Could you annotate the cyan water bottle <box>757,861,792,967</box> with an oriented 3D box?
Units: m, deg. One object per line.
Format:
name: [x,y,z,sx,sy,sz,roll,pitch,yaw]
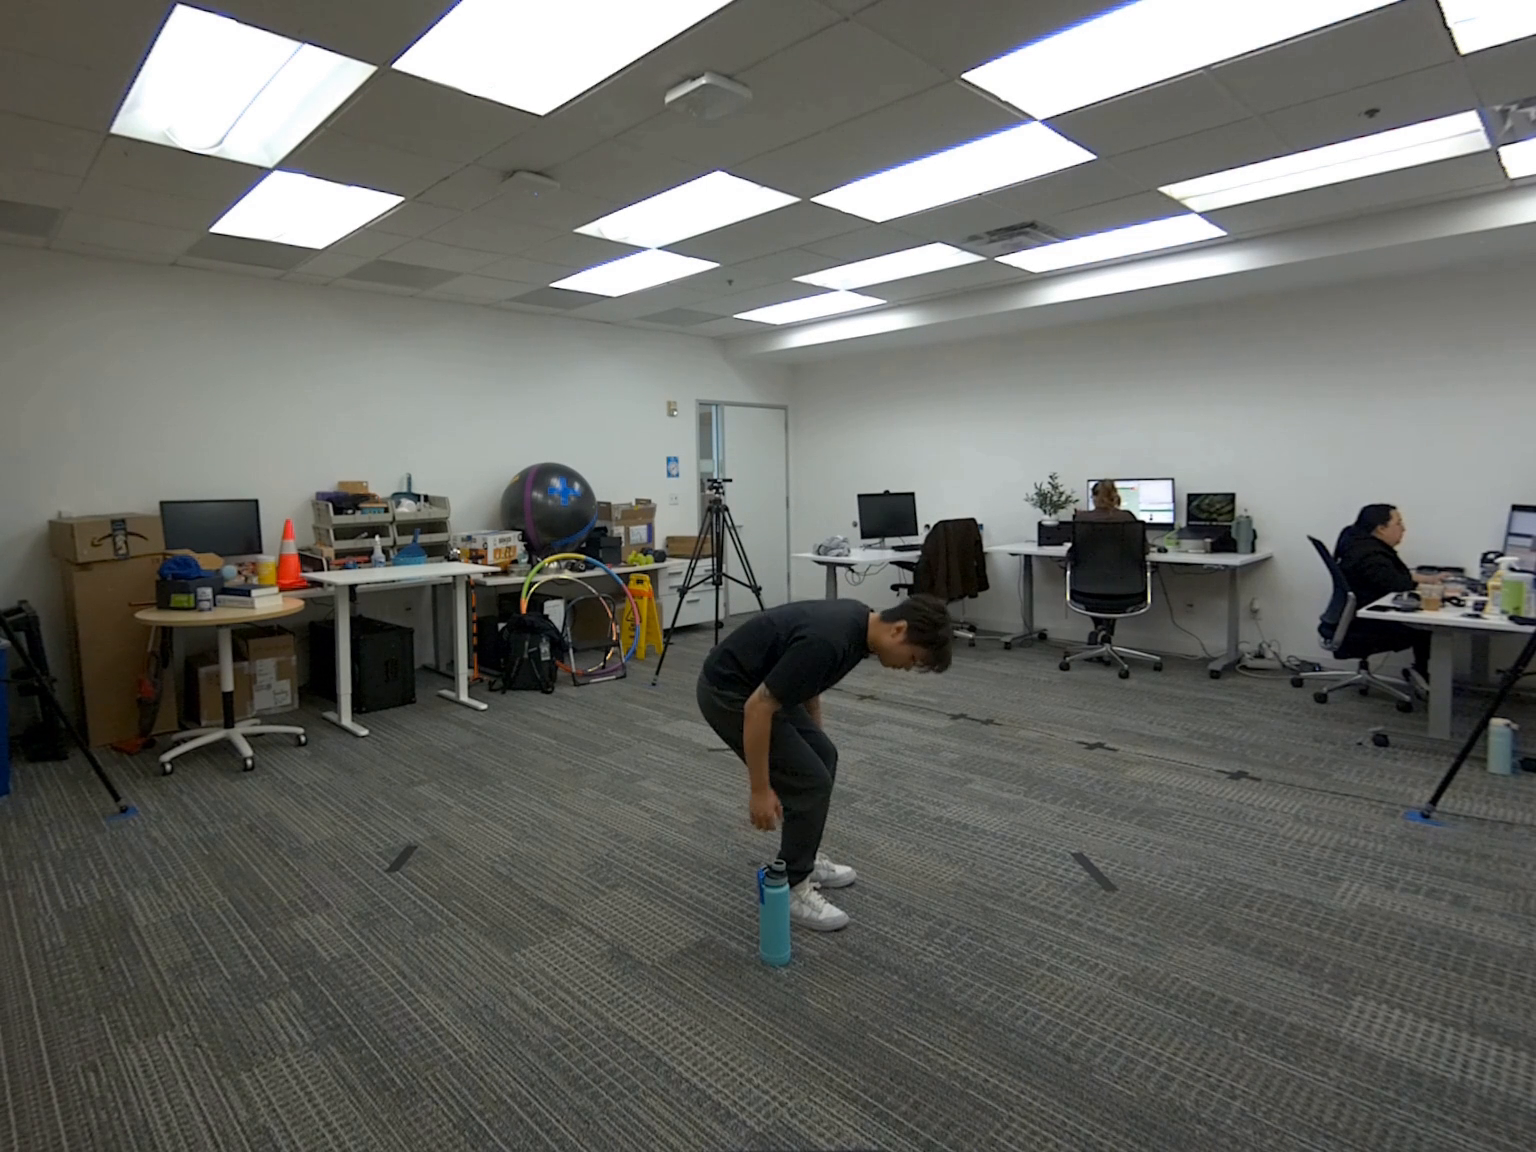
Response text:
cyan water bottle: [0.024,0.977,2.482,0.092,0.282,0.093,-2,4,-1]
